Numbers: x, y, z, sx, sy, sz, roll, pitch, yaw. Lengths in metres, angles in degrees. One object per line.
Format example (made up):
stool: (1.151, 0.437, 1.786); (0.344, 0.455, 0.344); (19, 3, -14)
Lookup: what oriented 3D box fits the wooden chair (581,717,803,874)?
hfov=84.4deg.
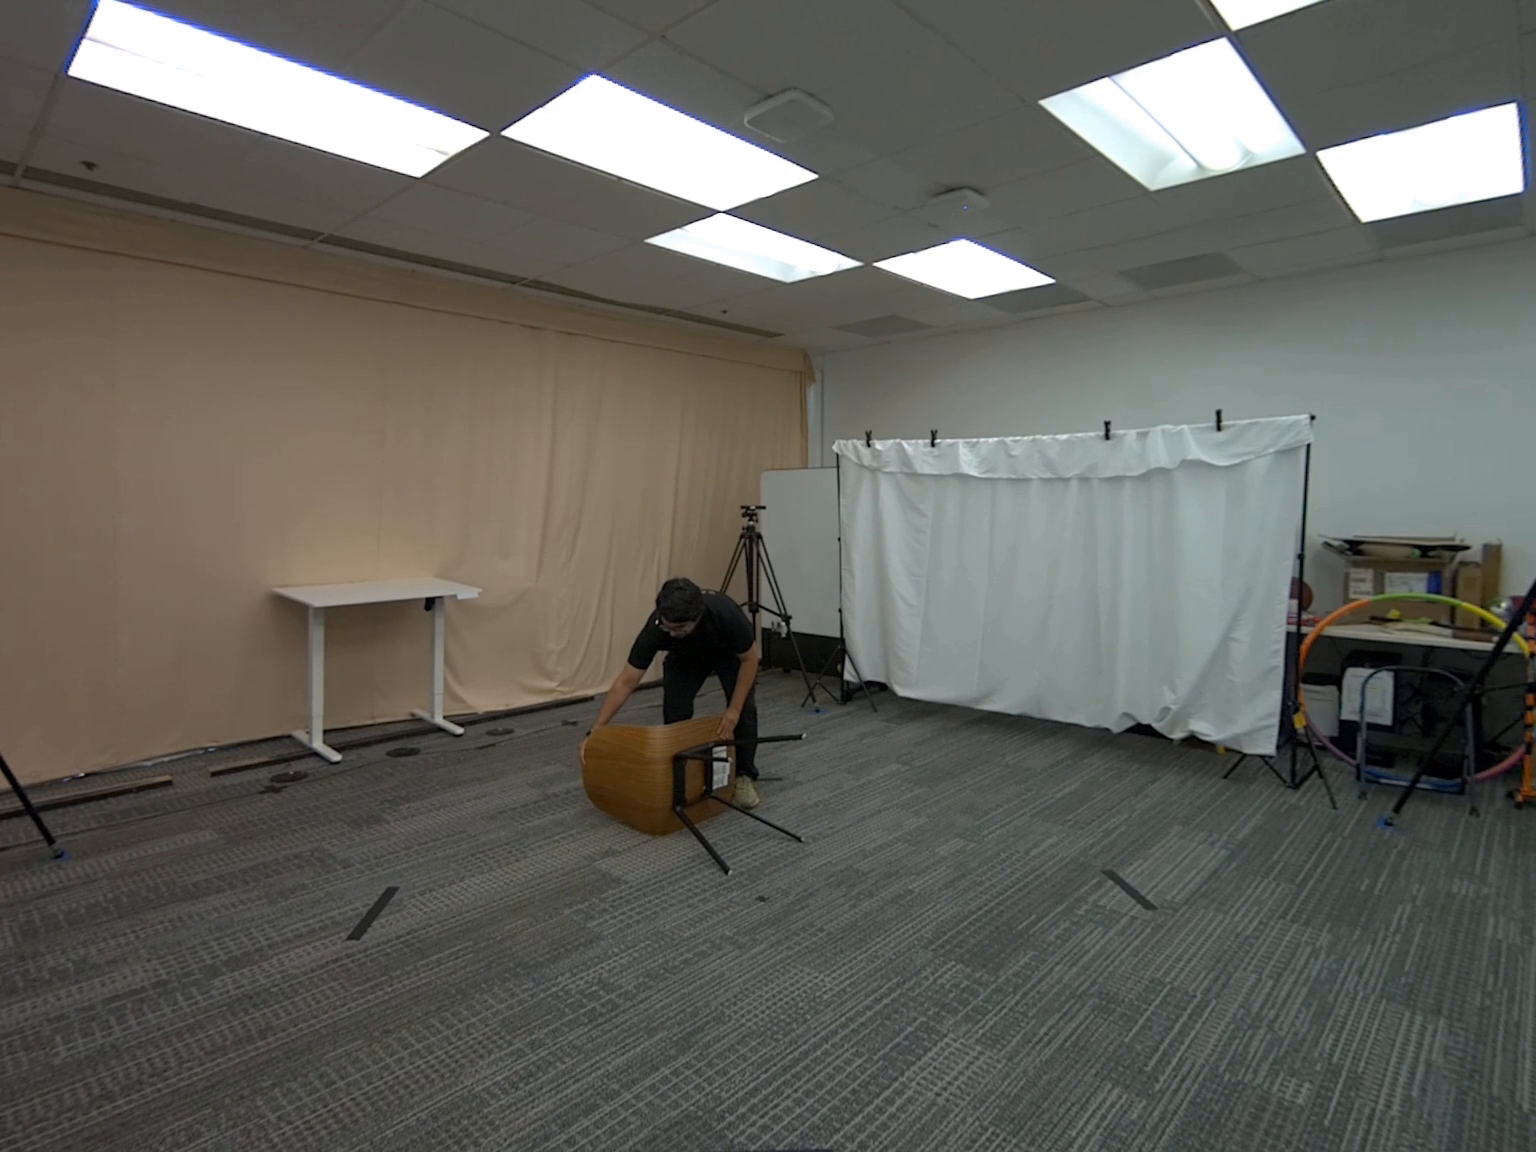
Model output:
wooden chair: (-0.316, 0.860, 3.619); (0.906, 0.477, 0.508); (3, 5, 38)
